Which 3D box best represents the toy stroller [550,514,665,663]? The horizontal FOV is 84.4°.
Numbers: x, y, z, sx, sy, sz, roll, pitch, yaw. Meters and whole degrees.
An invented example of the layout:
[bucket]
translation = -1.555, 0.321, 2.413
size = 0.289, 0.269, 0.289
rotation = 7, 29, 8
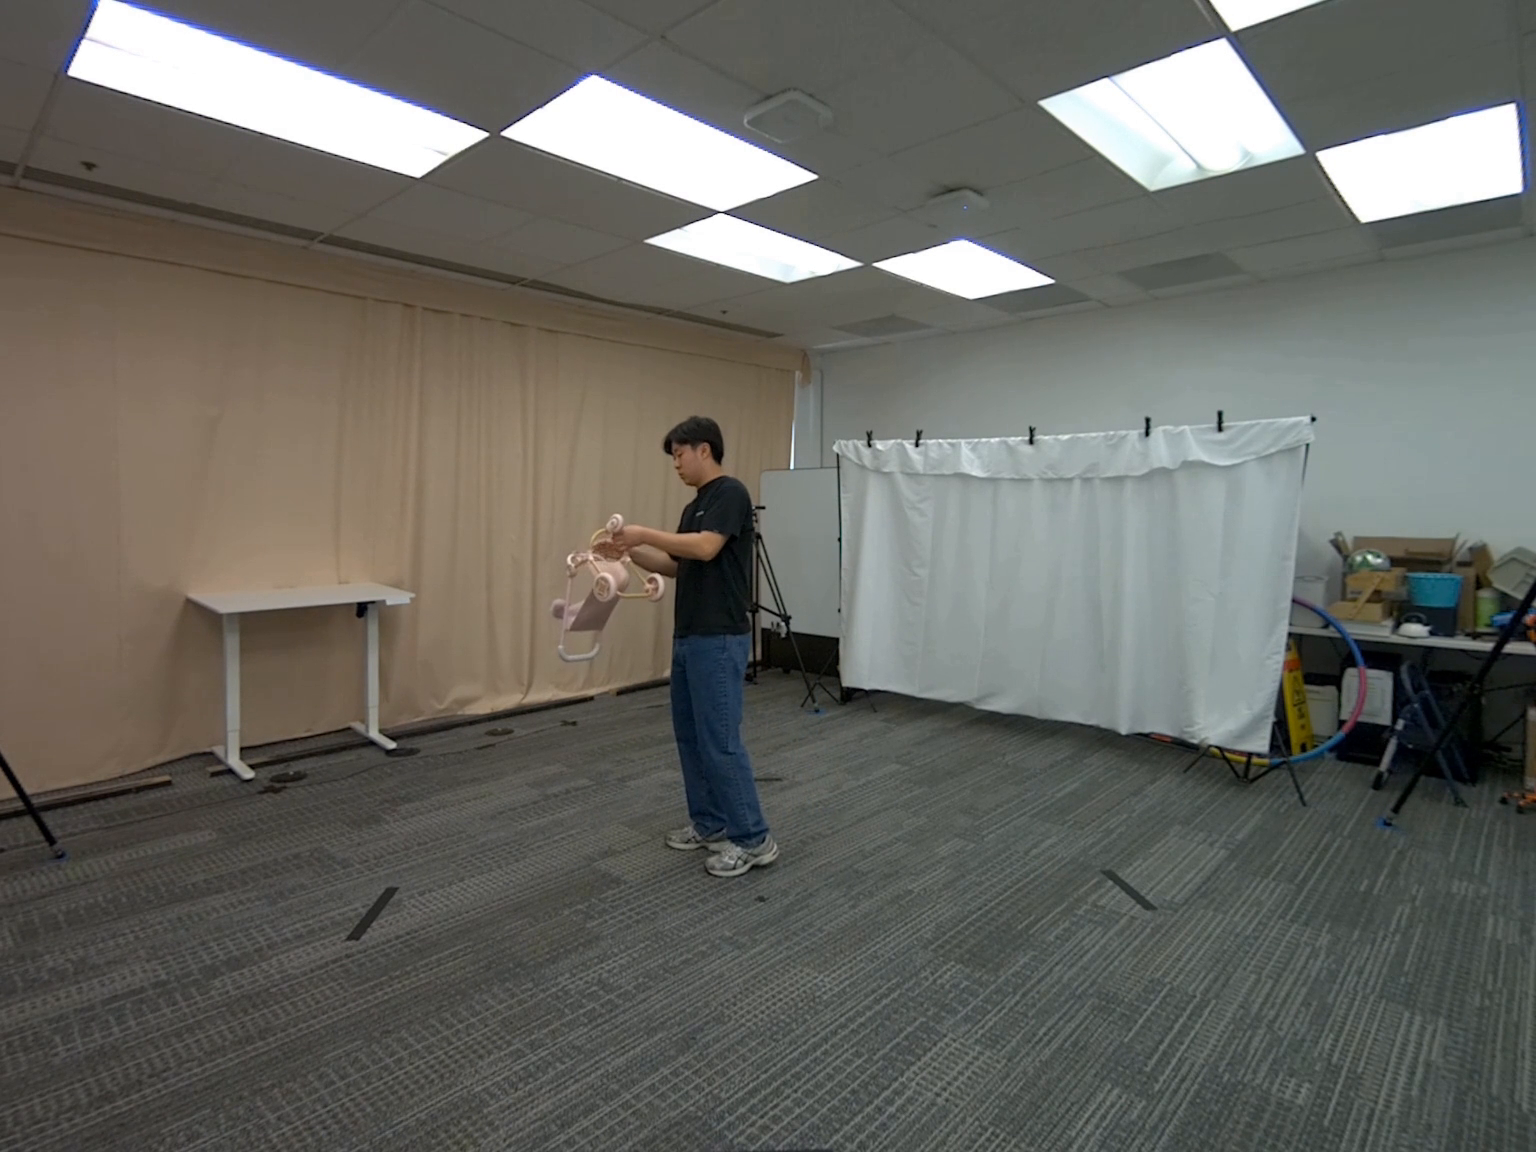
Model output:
[toy stroller]
translation = -0.658, 0.053, 3.234
size = 0.539, 0.349, 0.273
rotation = -46, -24, 29
